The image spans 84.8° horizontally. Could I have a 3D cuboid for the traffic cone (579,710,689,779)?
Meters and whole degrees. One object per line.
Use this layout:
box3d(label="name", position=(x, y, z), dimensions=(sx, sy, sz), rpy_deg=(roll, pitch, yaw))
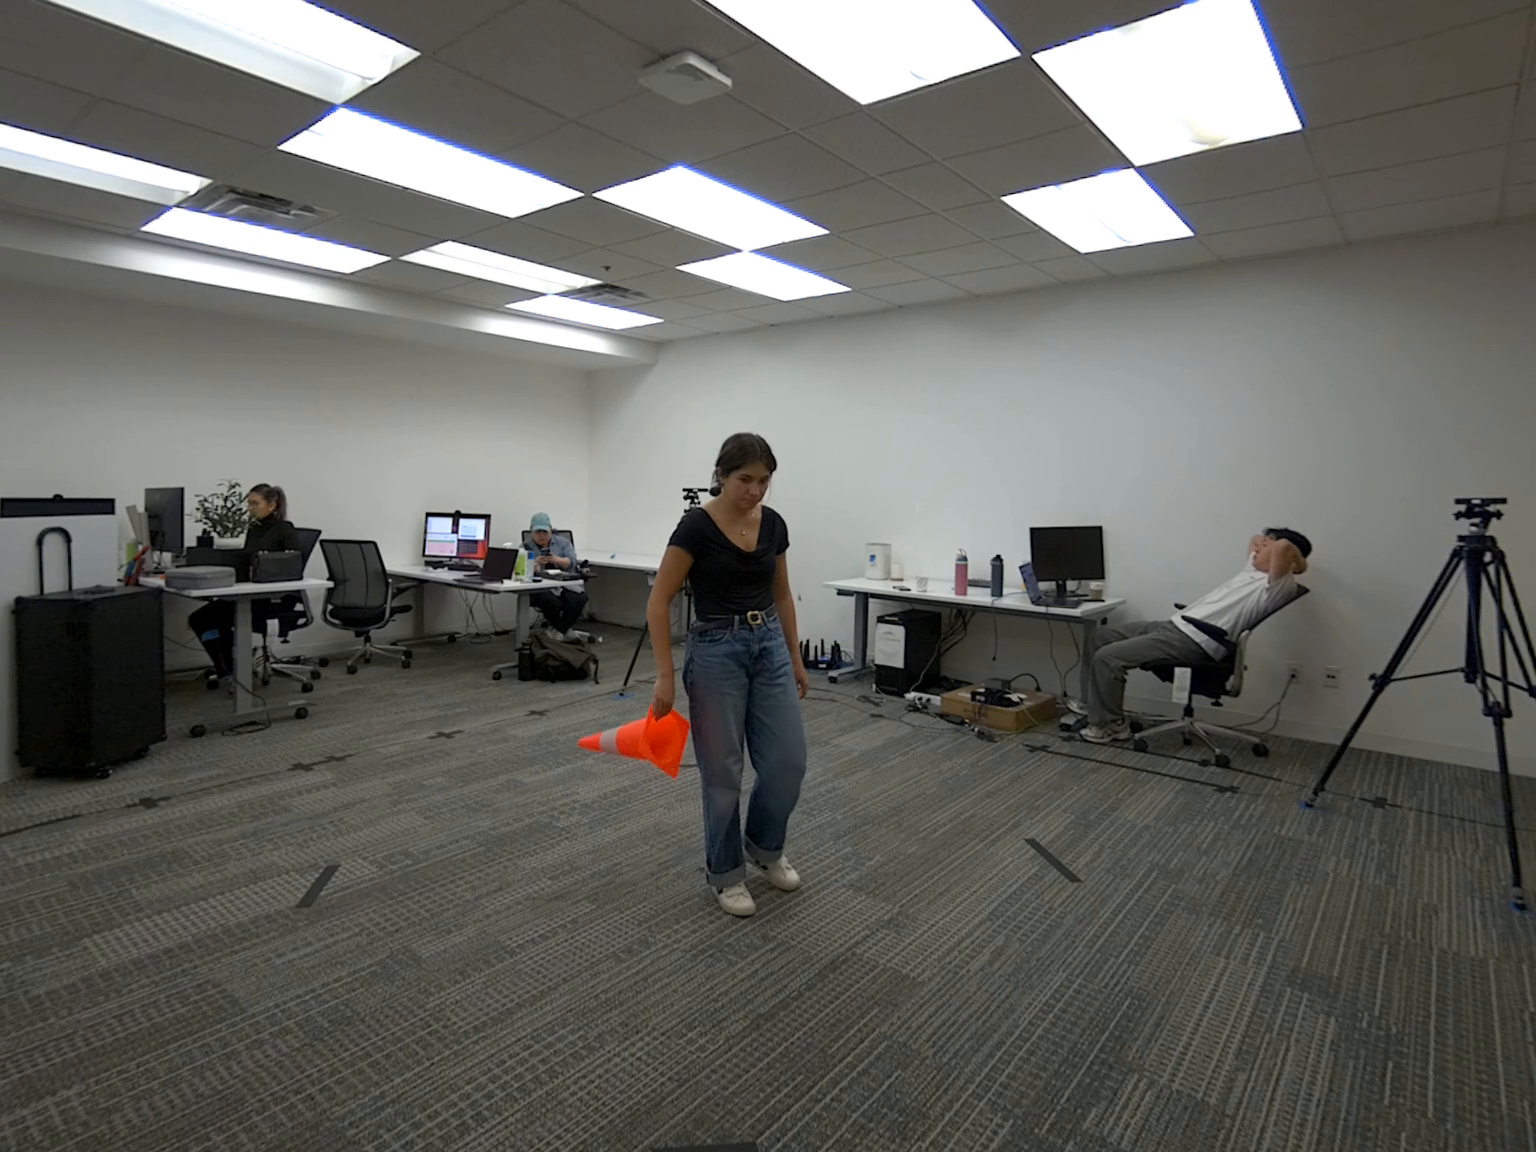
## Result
box3d(label="traffic cone", position=(-0.465, 0.525, 2.802), dimensions=(0.392, 0.208, 0.195), rpy_deg=(-13, -45, 35))
